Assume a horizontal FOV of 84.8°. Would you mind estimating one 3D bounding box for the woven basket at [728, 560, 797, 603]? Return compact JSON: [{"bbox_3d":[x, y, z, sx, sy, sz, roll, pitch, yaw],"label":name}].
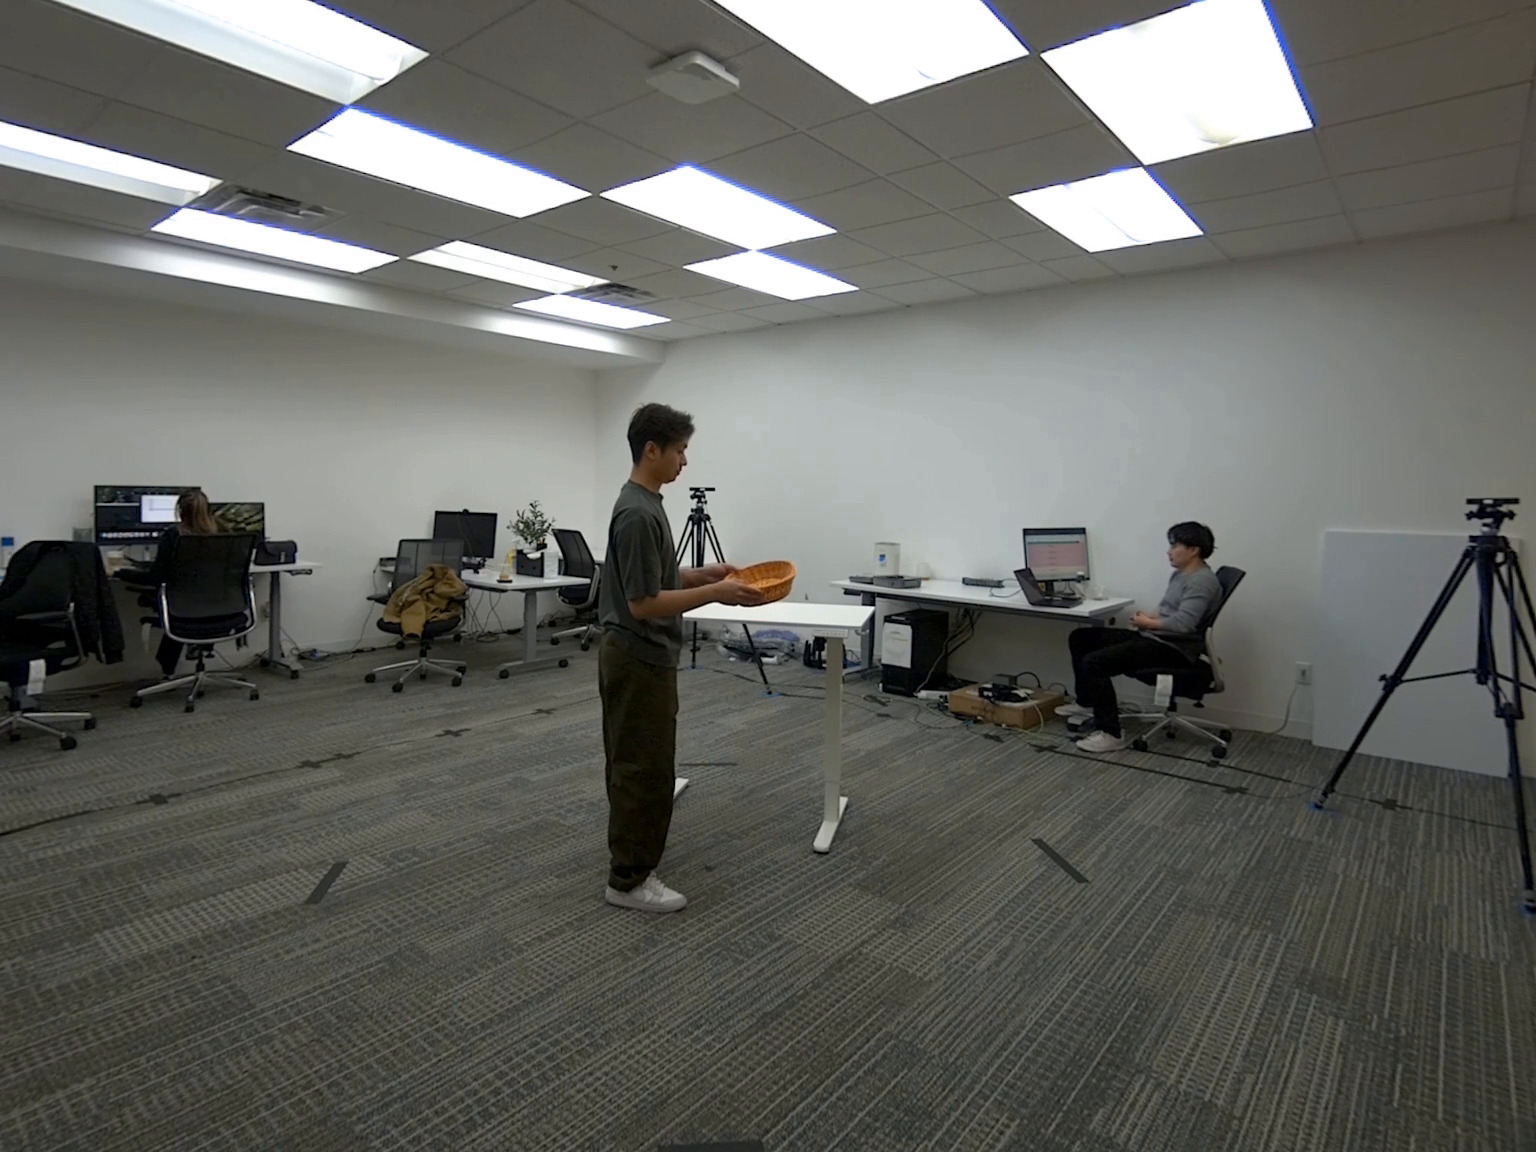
[{"bbox_3d":[-0.037,0.031,2.857,0.250,0.072,0.357,-15,12,-10],"label":"woven basket"}]
